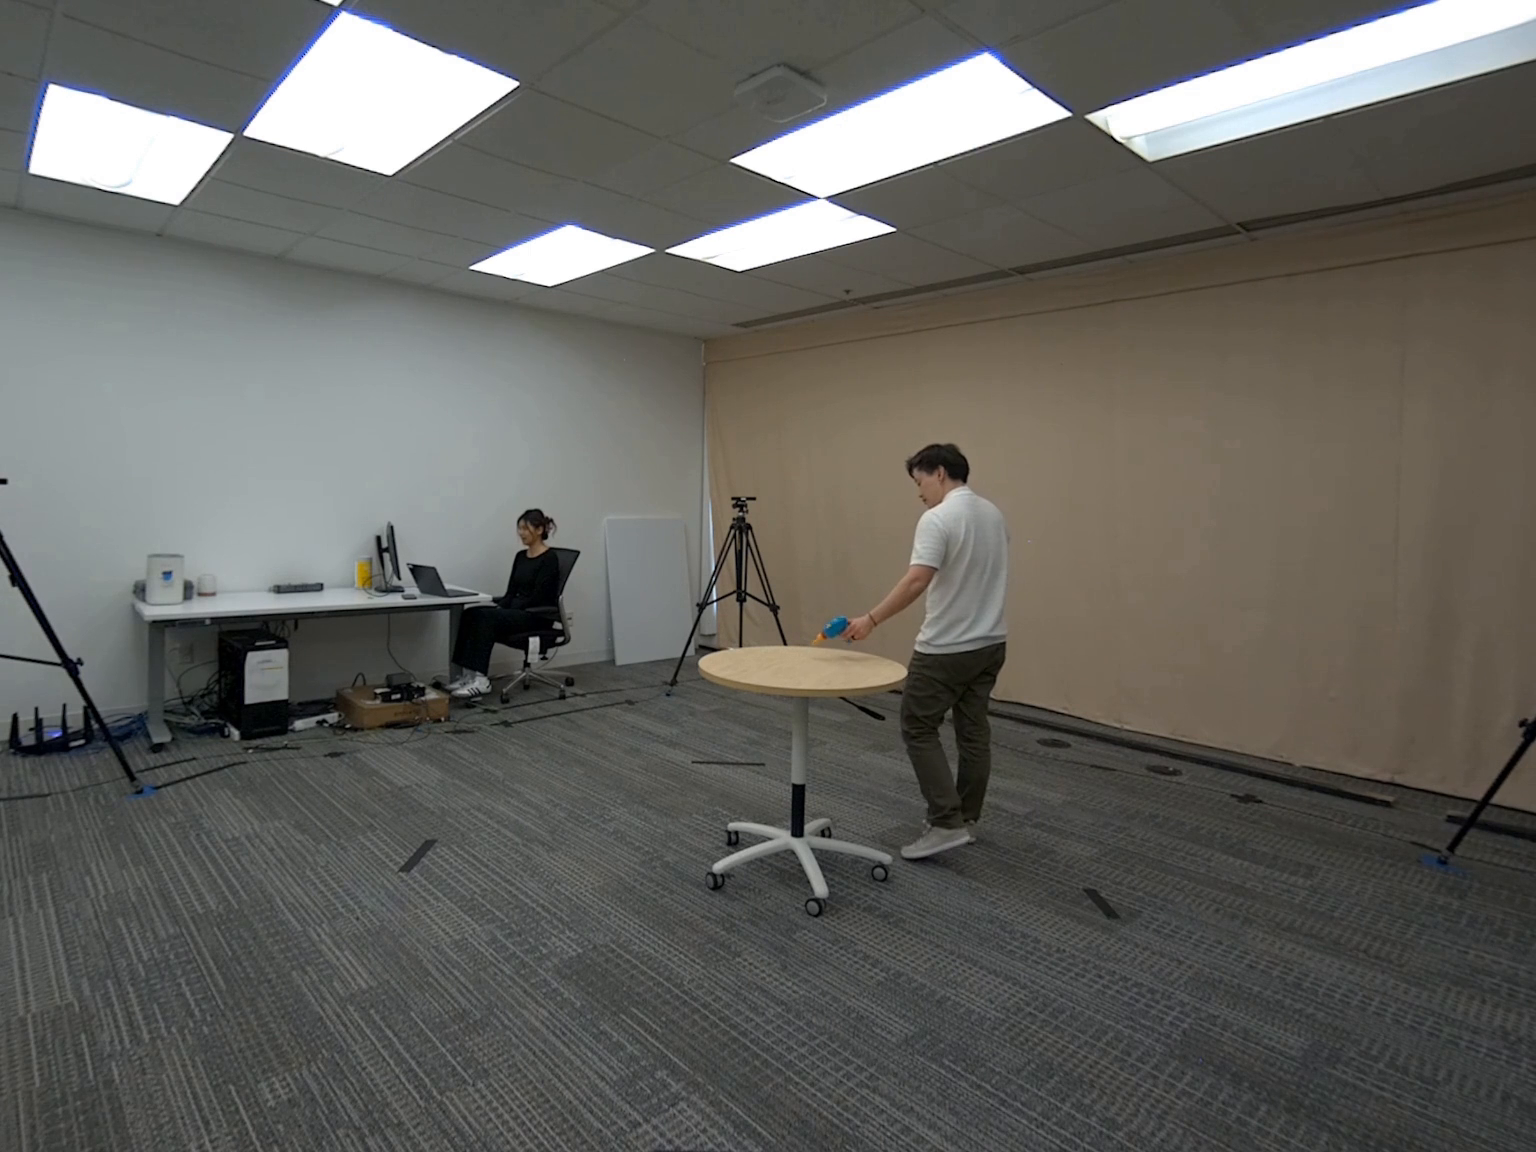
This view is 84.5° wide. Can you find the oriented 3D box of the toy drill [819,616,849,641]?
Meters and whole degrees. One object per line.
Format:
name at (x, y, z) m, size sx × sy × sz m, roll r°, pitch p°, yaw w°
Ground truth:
toy drill at (0.246, 0.226, 3.252) m, size 0.170 × 0.063 × 0.141 m, roll -40°, pitch -43°, yaw 19°
